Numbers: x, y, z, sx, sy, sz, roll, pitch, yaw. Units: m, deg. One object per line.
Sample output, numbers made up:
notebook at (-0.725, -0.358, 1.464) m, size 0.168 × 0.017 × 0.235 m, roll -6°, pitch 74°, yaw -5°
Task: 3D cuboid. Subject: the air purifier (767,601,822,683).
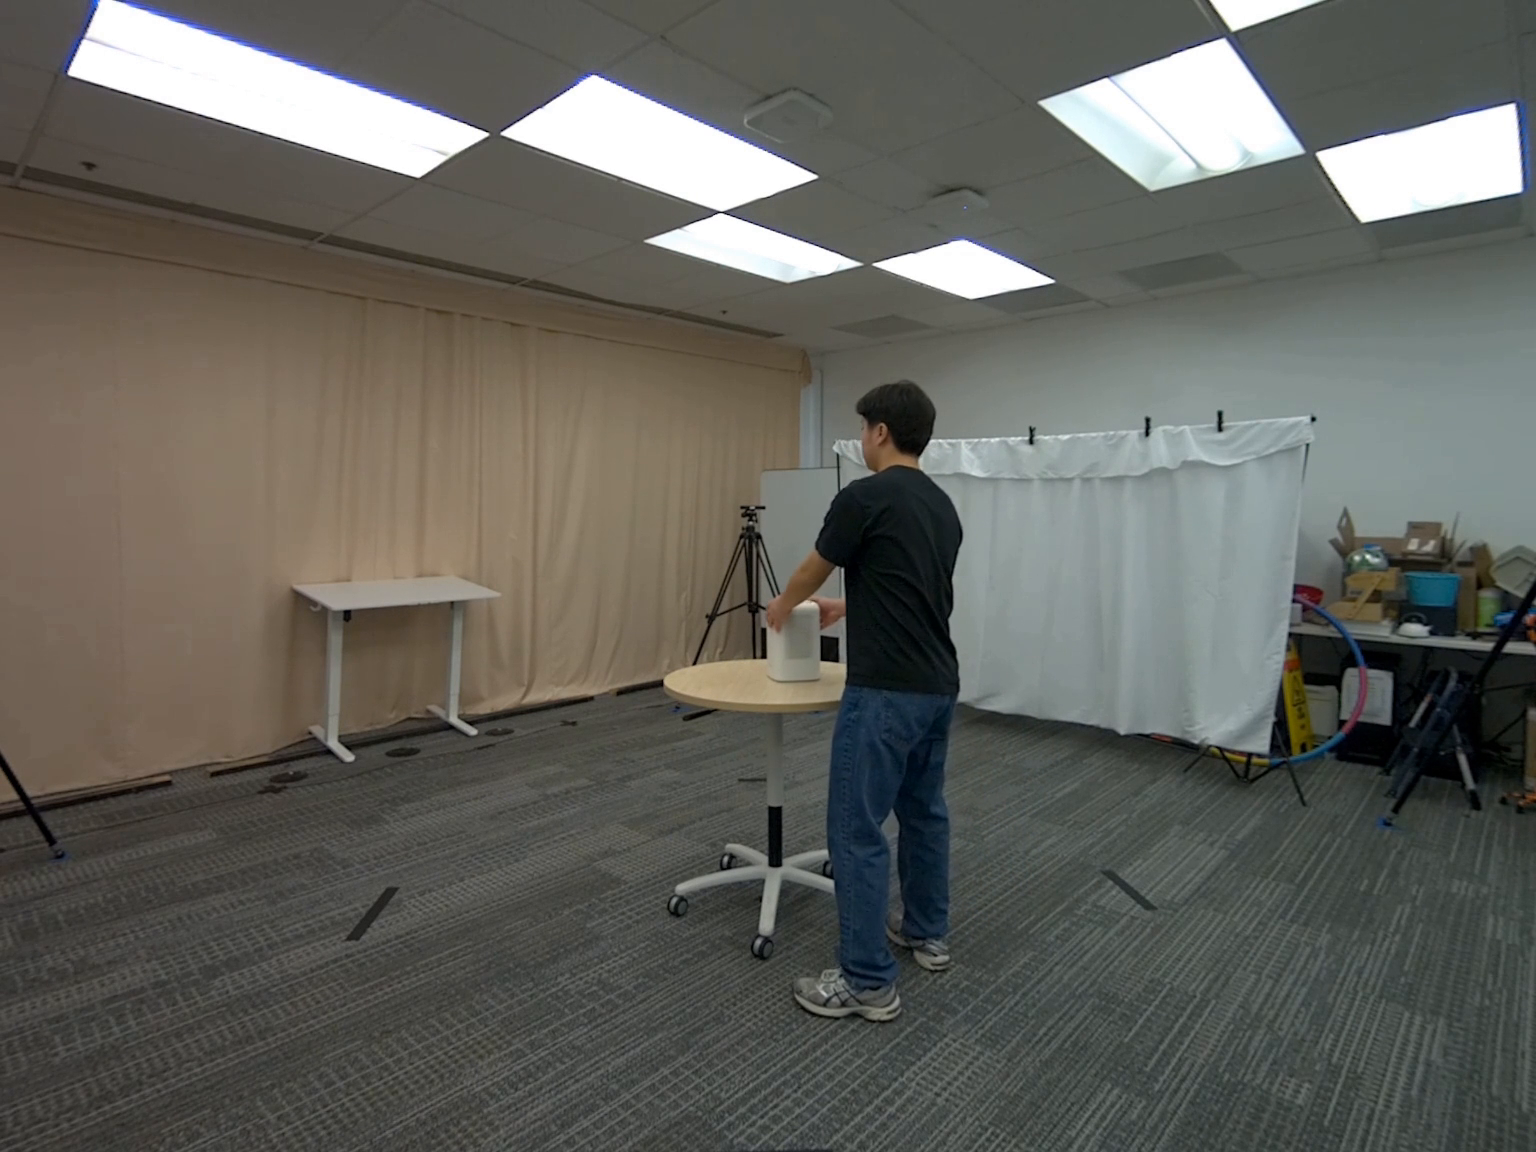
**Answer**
air purifier at (0.093, 0.225, 2.923) m, size 0.170 × 0.265 × 0.173 m, roll 0°, pitch 4°, yaw -8°
